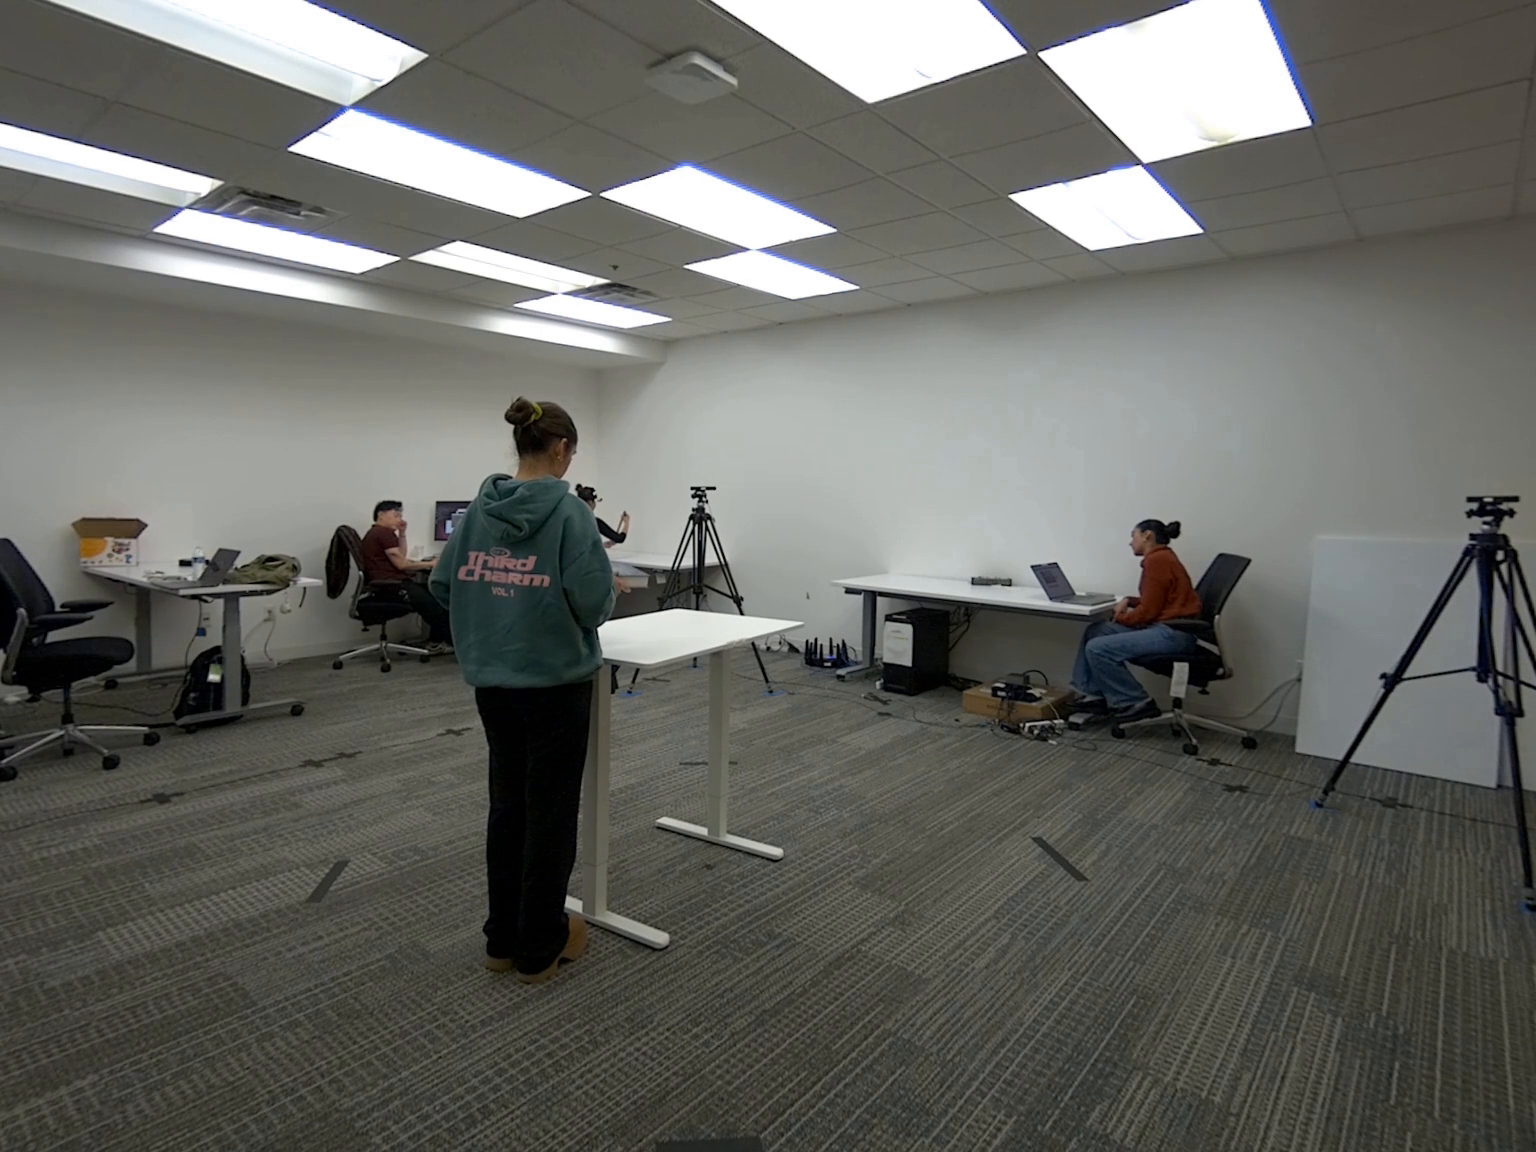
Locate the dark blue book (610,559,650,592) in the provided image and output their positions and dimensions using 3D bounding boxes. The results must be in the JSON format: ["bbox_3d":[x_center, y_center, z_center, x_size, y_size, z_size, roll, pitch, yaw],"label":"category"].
[{"bbox_3d":[-0.528,-0.003,2.695,0.238,0.045,0.170,-1,15,-38],"label":"dark blue book"}]
